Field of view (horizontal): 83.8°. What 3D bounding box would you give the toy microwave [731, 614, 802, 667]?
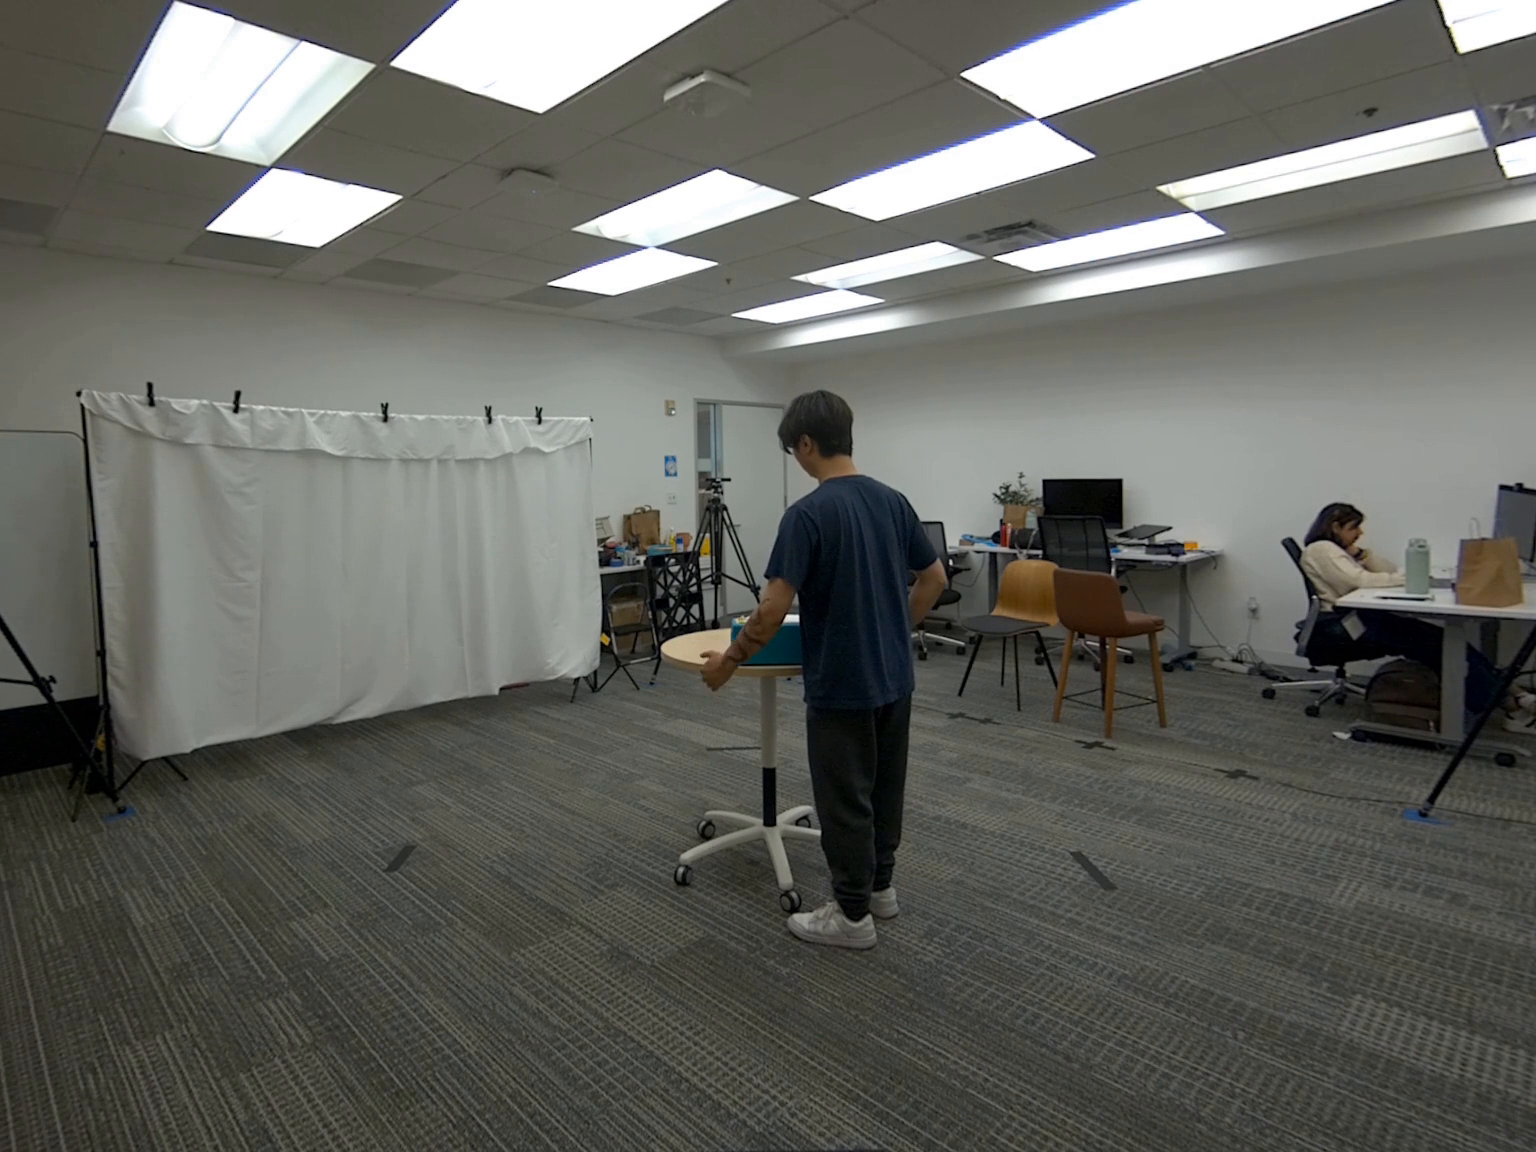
[{"bbox_3d":[0.023,0.202,2.799,0.286,0.152,0.184,0,3,0],"label":"toy microwave"}]
